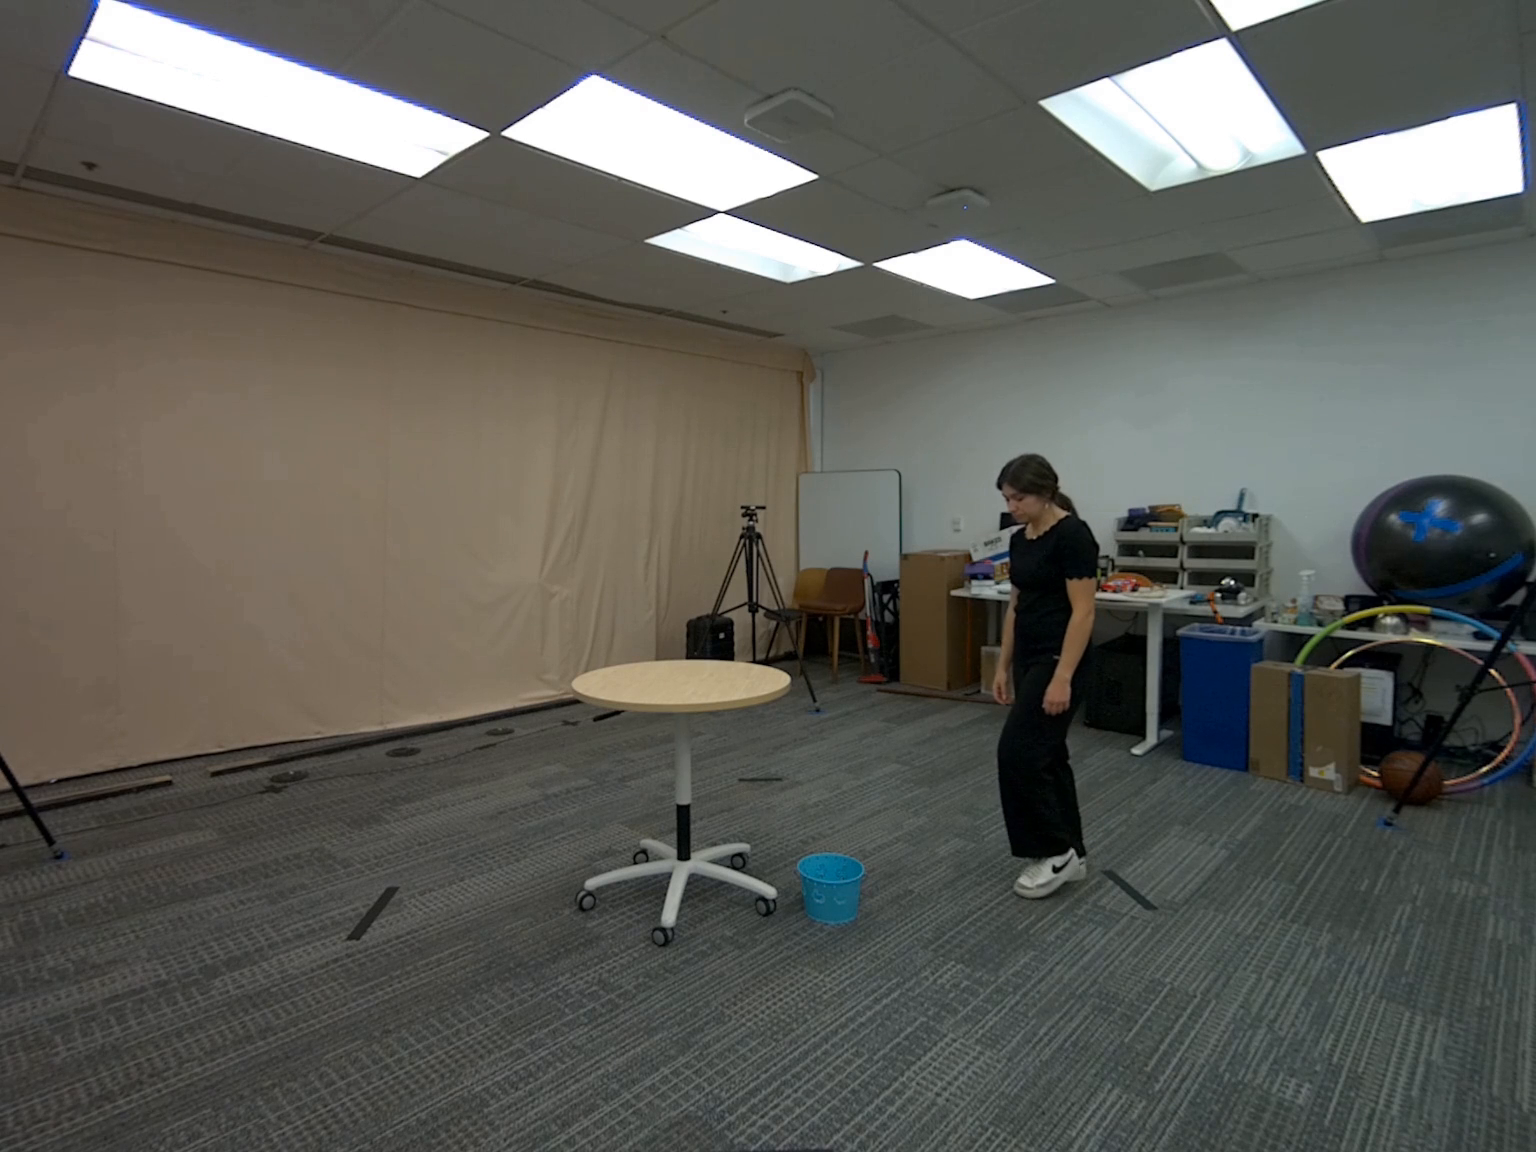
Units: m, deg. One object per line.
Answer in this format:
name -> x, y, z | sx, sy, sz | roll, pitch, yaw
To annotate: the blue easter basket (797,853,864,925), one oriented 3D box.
blue easter basket -> 0.222, 1.072, 2.892 | 0.243, 0.155, 0.244 | -1, 5, -2
